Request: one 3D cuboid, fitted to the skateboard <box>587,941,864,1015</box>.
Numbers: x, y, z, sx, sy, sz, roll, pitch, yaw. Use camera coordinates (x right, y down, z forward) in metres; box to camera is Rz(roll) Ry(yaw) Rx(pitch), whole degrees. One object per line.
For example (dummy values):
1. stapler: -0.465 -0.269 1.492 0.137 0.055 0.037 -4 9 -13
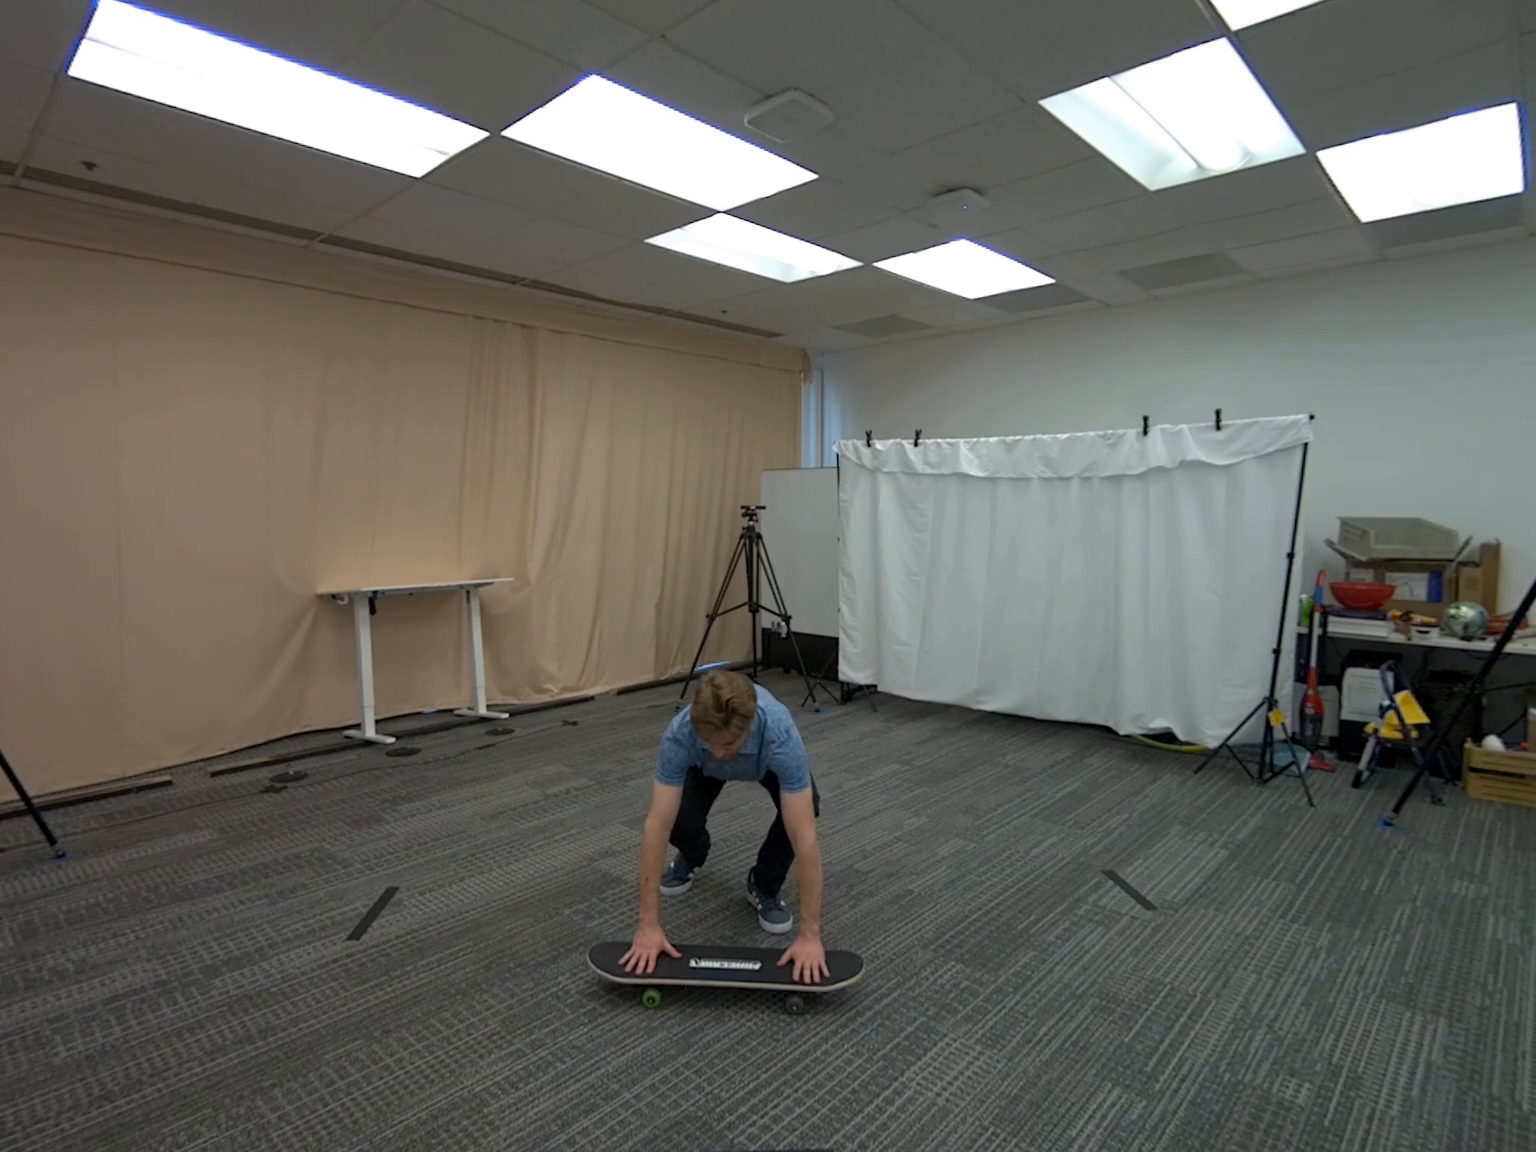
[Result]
1. skateboard: -0.125 1.131 2.405 0.790 0.110 0.193 0 6 5
